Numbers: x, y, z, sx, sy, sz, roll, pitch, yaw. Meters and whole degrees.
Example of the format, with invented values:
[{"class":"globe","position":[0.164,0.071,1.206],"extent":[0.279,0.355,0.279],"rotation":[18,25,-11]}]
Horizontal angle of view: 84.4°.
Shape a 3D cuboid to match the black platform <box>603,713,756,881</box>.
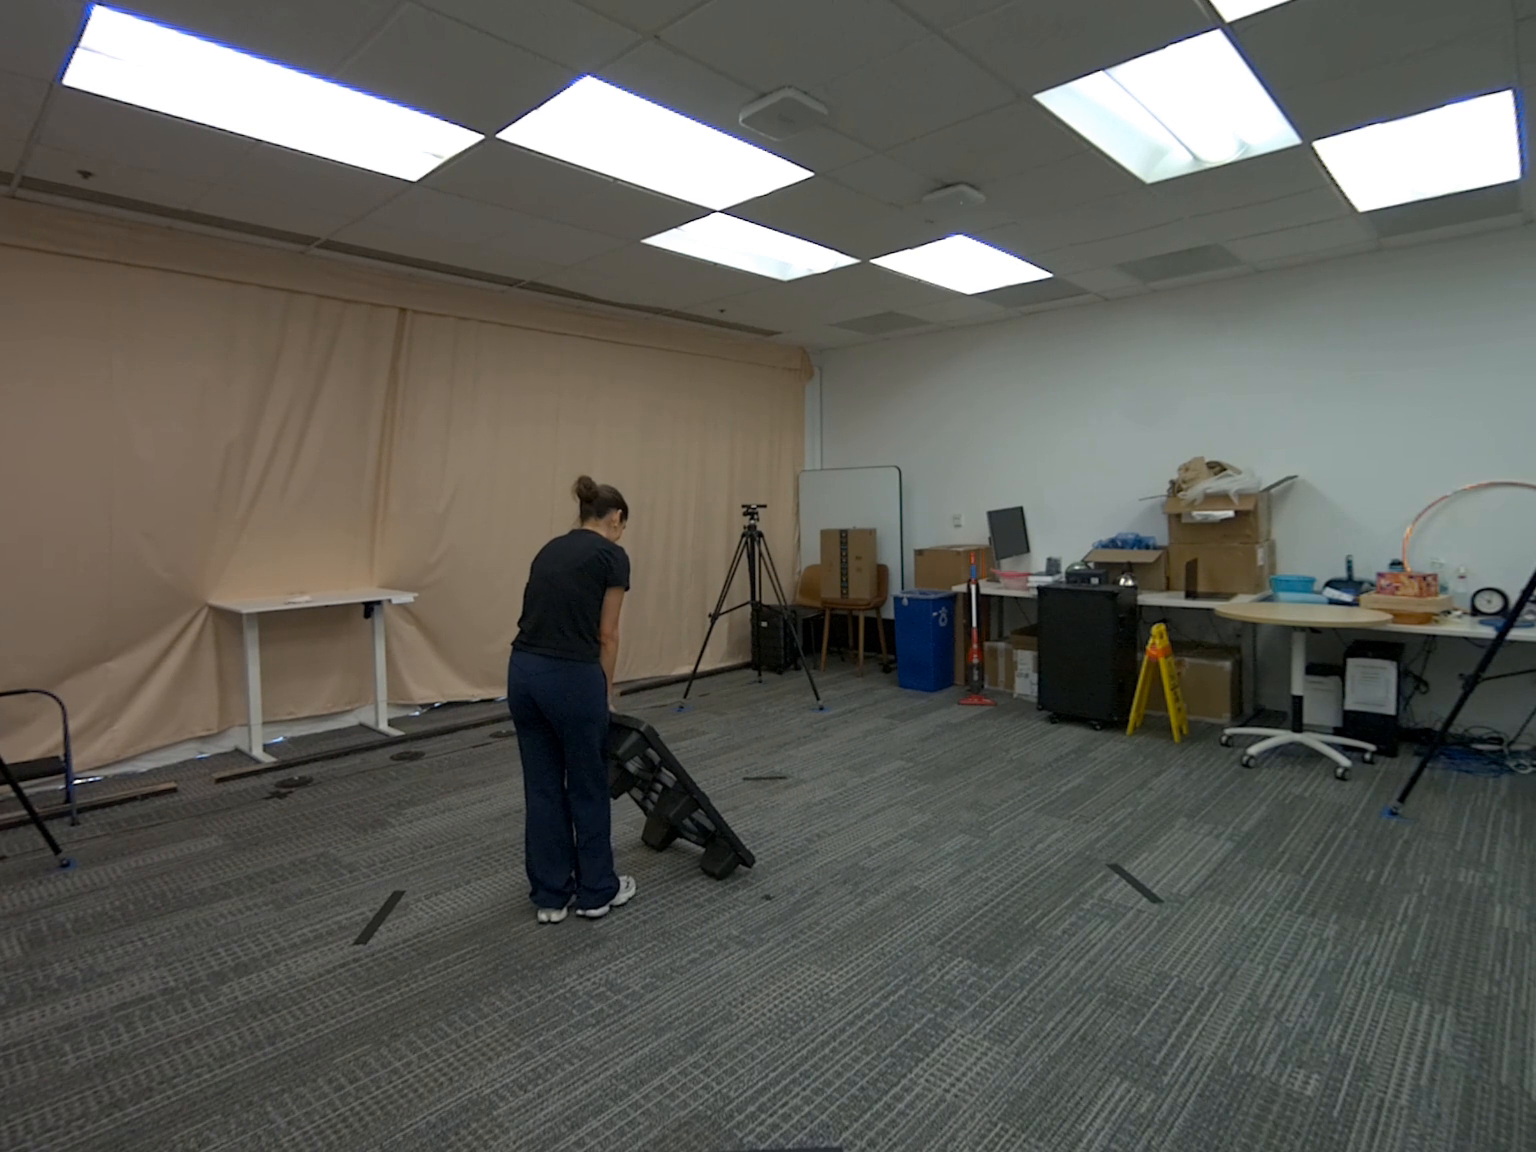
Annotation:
[{"class":"black platform","position":[-0.449,0.807,3.163],"extent":[0.625,0.785,0.142],"rotation":[3,42,47]}]
